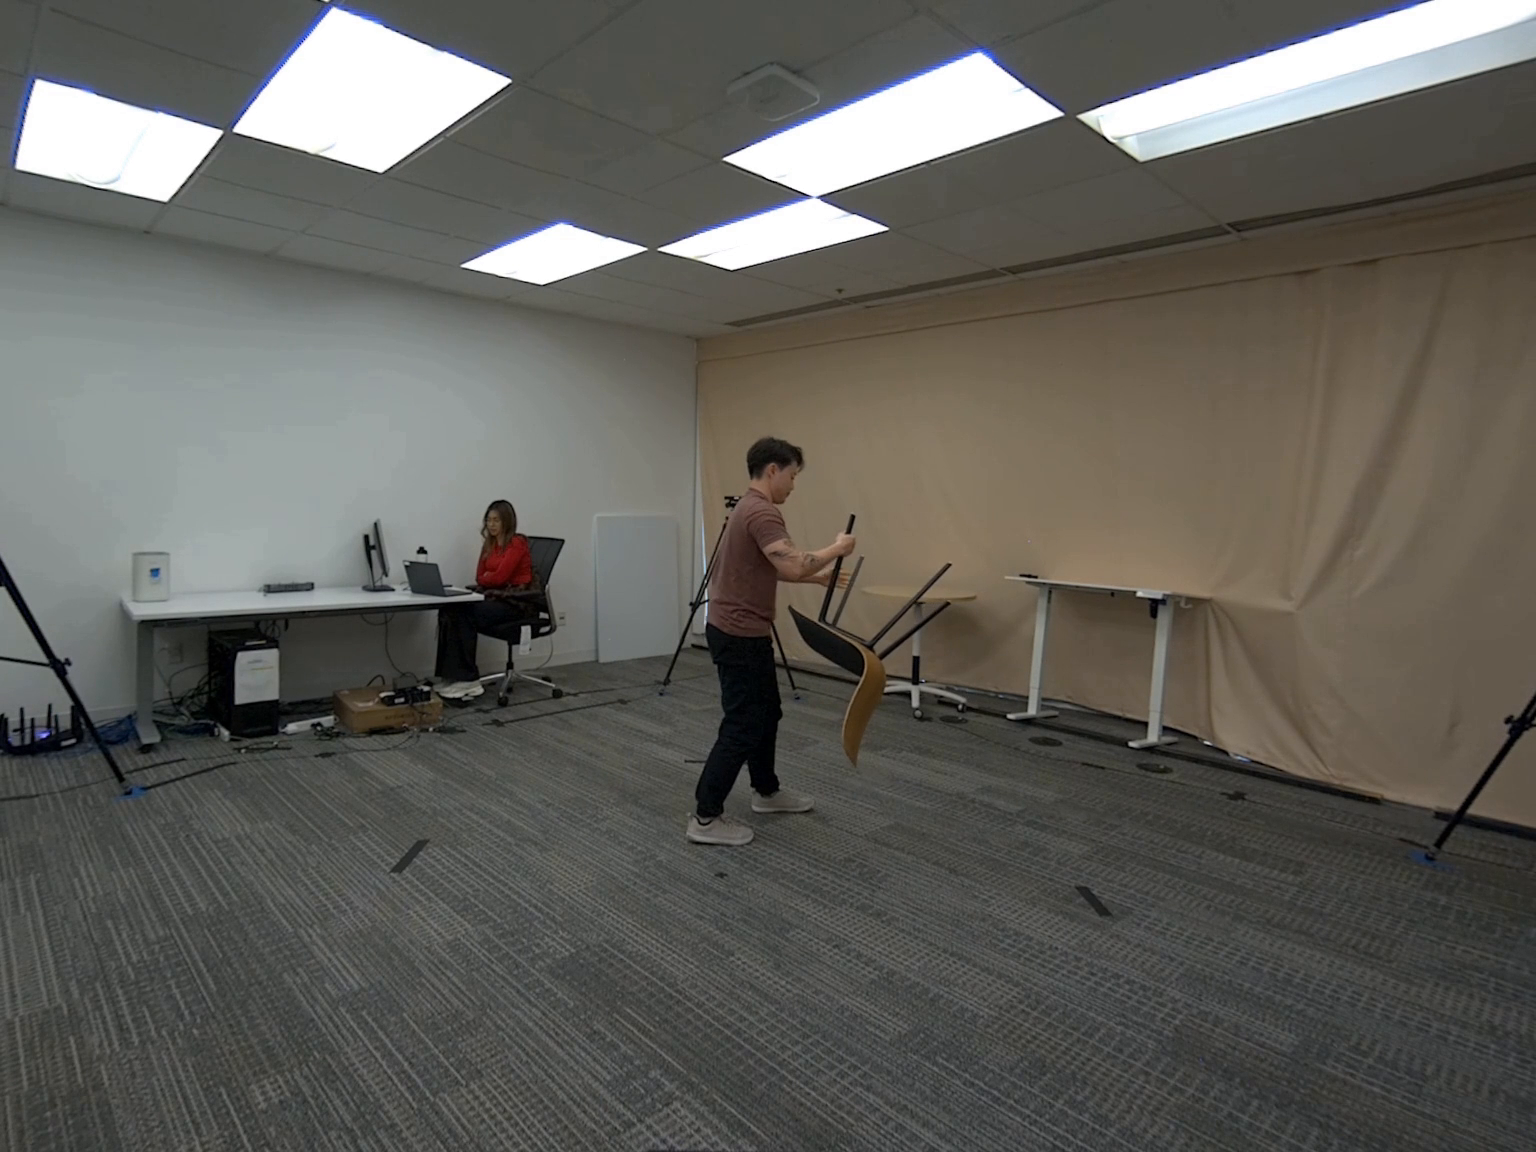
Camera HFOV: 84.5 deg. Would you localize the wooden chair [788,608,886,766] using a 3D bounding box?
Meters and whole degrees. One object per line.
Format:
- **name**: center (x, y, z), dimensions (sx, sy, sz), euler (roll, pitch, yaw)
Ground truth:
- **wooden chair**: center (0.328, 0.279, 3.474), dimensions (0.535, 0.880, 0.466), euler (25, -15, 23)
